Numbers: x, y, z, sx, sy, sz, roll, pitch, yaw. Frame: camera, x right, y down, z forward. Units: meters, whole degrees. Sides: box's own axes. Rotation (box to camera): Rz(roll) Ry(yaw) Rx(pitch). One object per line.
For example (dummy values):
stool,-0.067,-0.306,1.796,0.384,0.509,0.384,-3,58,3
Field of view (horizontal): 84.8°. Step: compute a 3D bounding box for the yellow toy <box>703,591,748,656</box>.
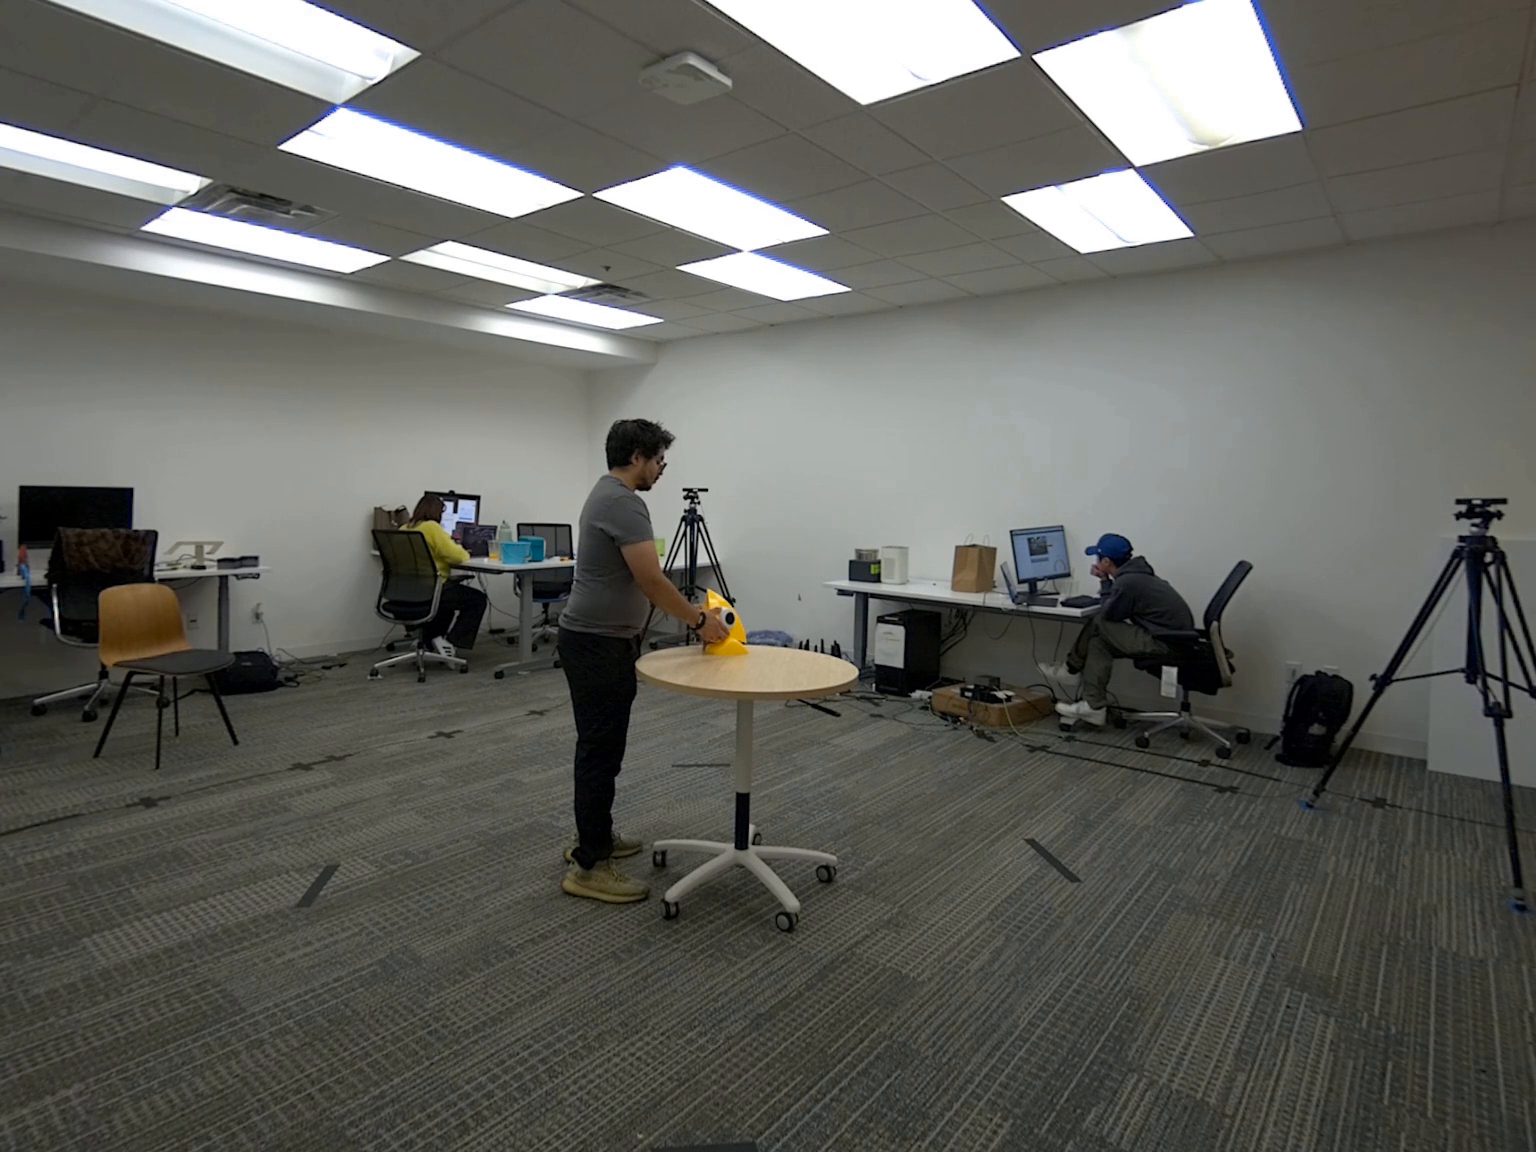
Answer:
yellow toy,-0.183,0.164,3.195,0.190,0.229,0.209,1,6,-15
